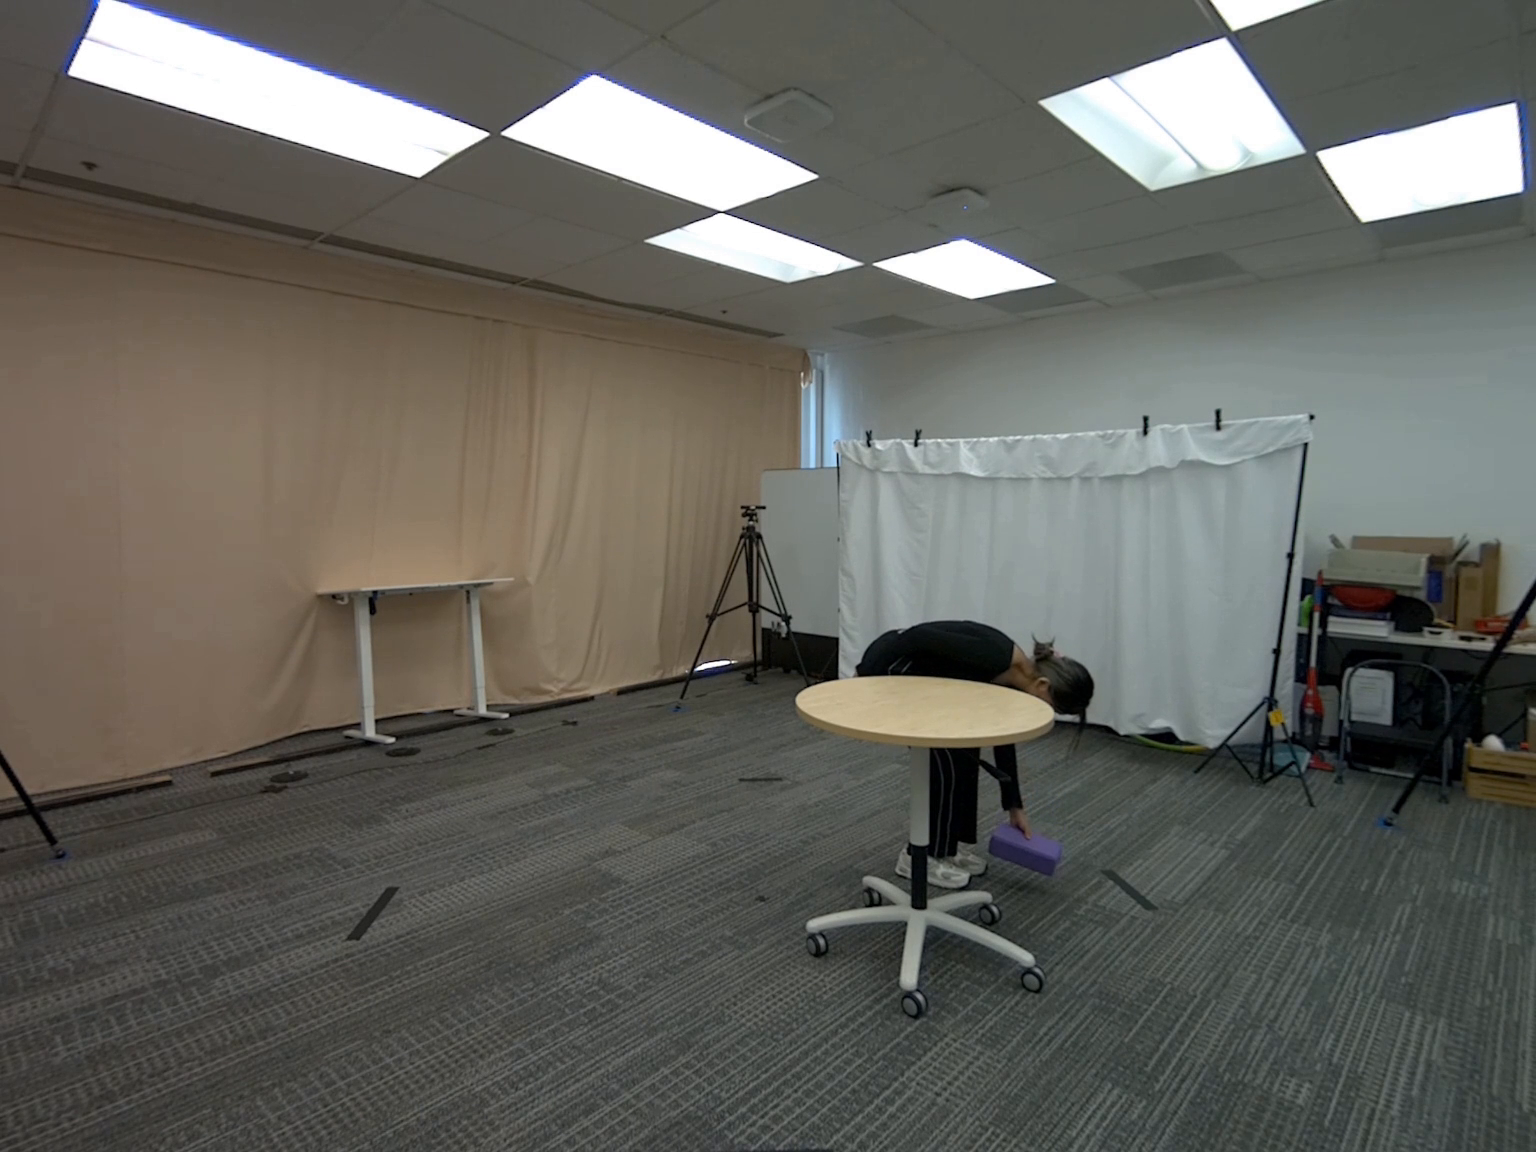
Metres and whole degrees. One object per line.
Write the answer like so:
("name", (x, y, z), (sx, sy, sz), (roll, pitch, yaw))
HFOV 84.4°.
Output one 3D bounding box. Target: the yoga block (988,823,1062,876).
("yoga block", (0.951, 0.996, 3.062), (0.236, 0.076, 0.145), (13, 12, 27))
